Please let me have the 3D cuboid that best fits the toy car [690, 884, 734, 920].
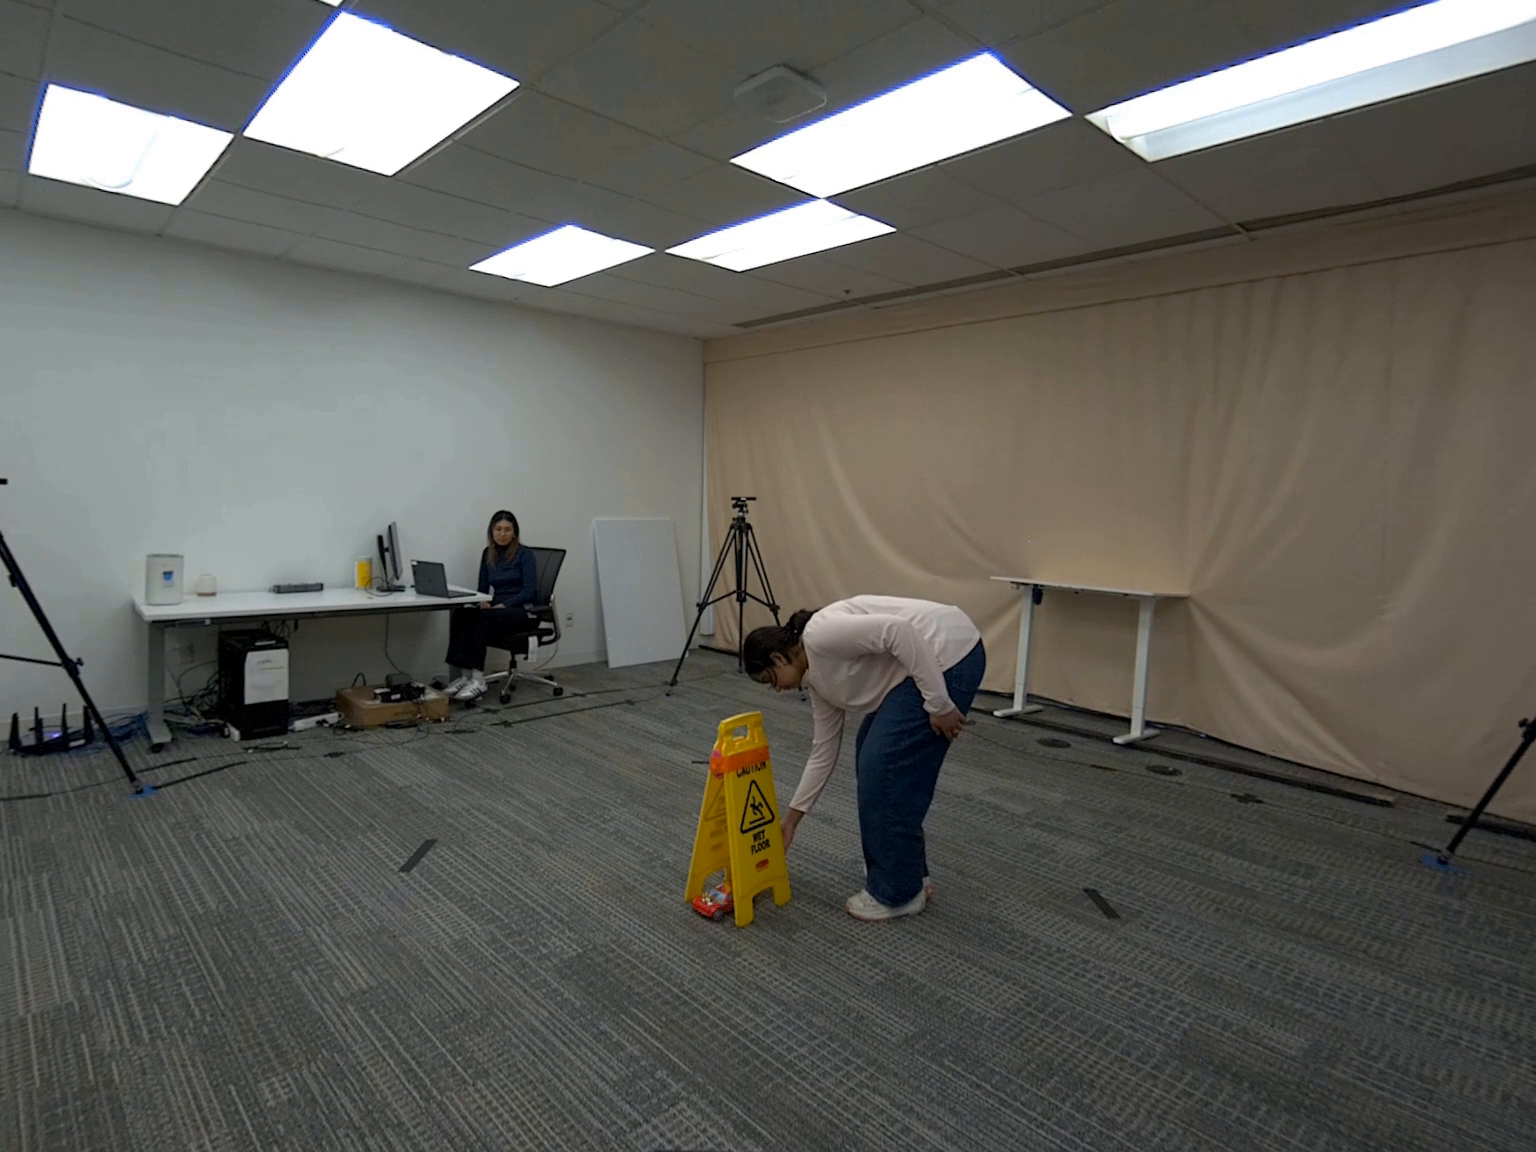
[{"bbox_3d":[-0.132,1.095,2.881,0.250,0.082,0.134,-19,17,-41],"label":"toy car"}]
